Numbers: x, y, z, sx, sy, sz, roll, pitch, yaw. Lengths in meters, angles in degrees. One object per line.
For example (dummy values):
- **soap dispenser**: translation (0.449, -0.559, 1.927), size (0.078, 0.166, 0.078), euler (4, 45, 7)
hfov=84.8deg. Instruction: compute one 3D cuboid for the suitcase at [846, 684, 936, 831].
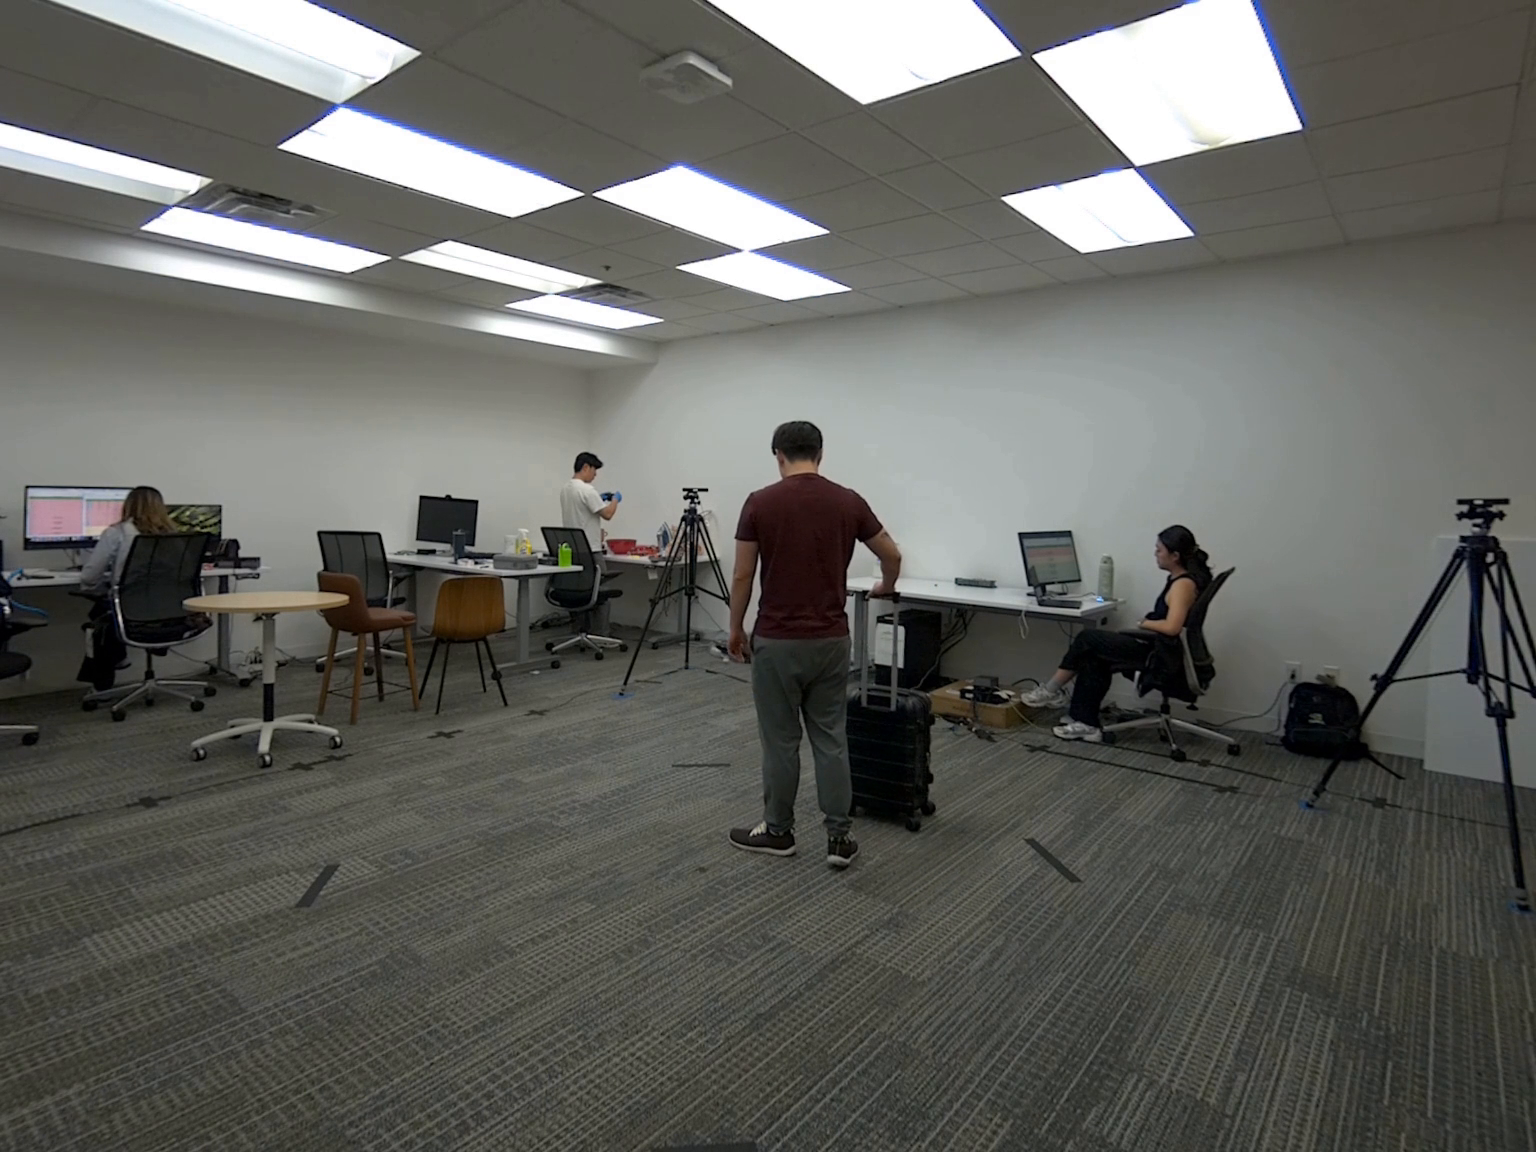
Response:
- **suitcase**: translation (0.510, 0.548, 3.689), size (0.395, 0.977, 0.250), euler (2, 2, 30)
